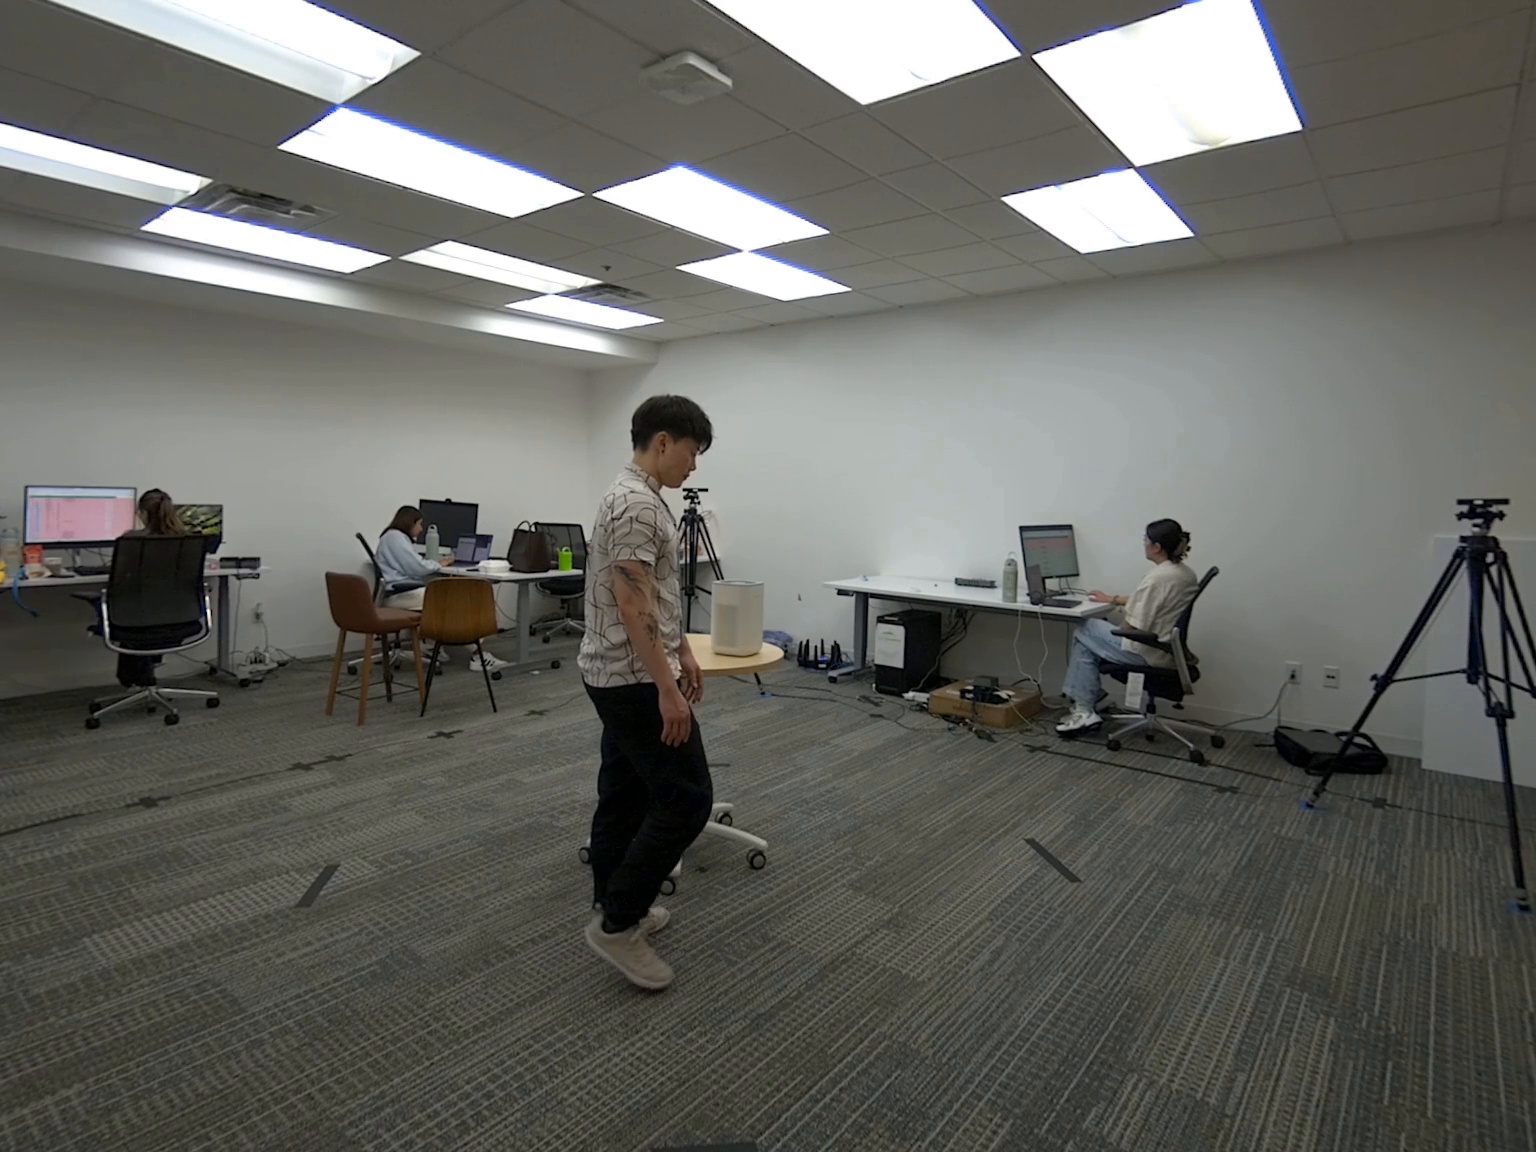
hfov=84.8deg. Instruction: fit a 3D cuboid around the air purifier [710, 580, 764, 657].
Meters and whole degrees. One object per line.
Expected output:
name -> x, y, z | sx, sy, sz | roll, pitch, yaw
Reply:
air purifier -> -0.125, 0.151, 3.163 | 0.176, 0.265, 0.167 | 2, 3, 25
